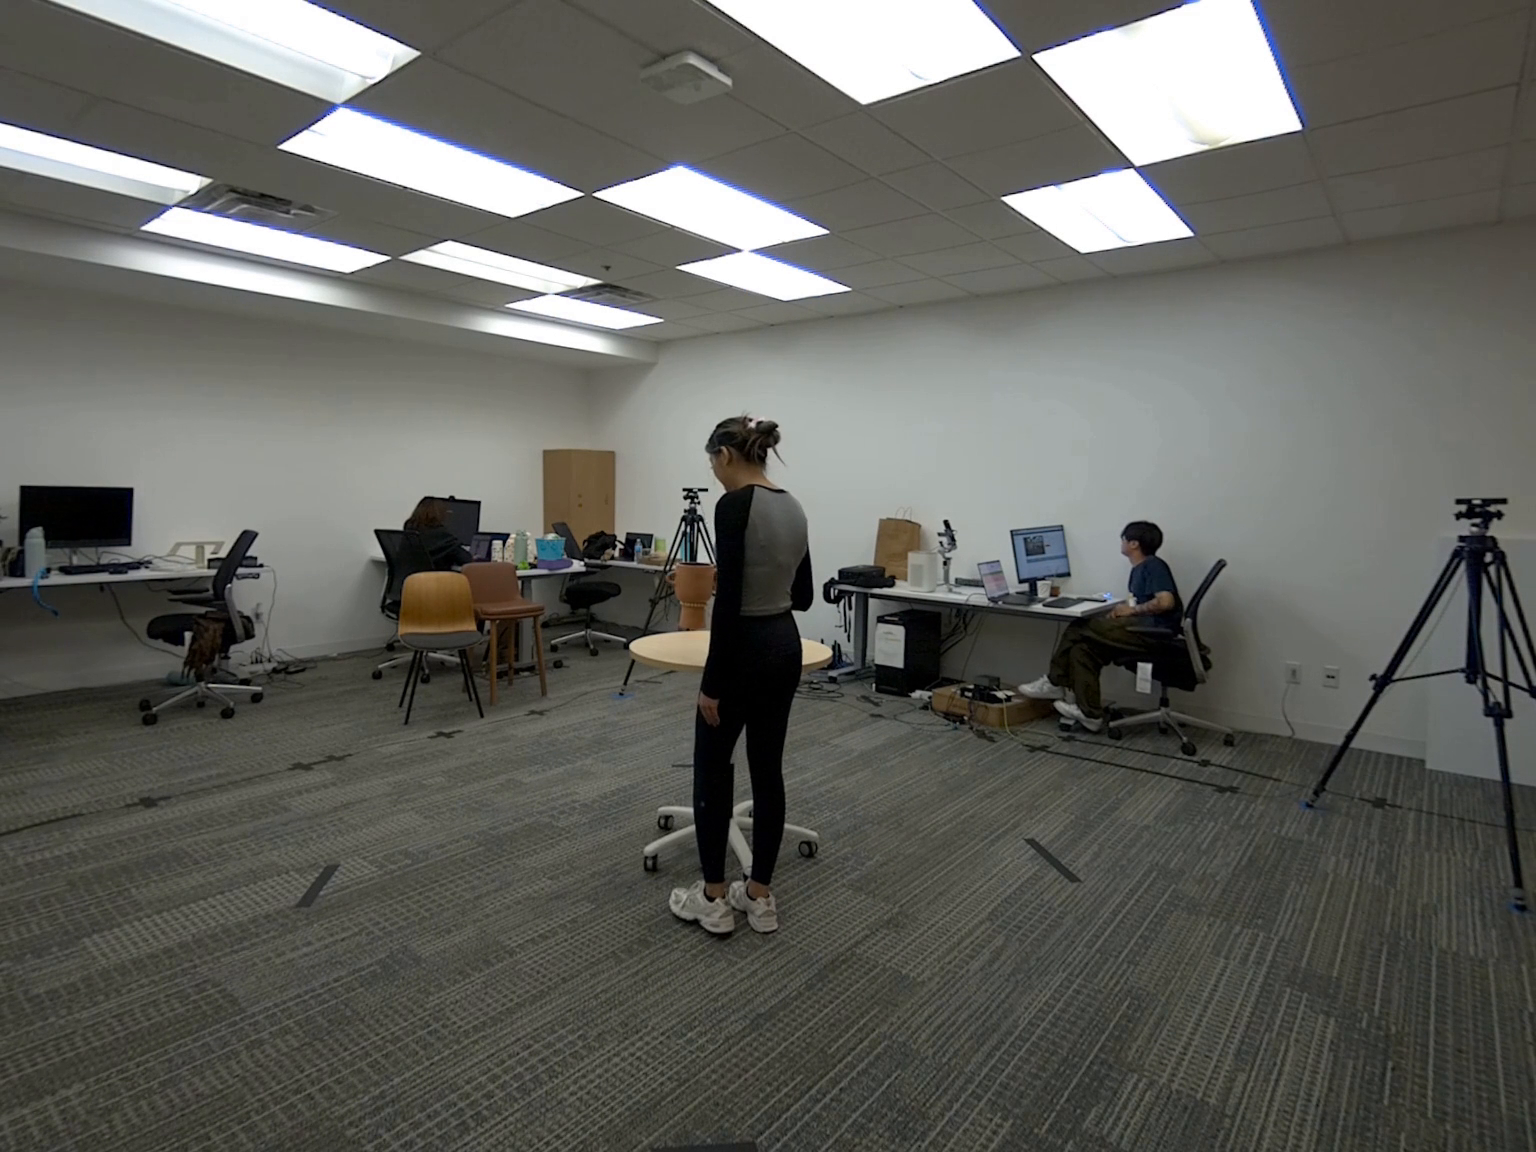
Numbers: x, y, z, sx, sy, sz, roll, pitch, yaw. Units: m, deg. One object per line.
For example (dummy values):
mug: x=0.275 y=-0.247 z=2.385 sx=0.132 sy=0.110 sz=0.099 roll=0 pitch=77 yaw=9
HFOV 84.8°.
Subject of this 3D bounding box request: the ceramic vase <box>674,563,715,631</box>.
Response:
ceramic vase: x=-0.270 y=0.065 z=2.973 sx=0.163 sy=0.219 sz=0.131 roll=5 pitch=5 yaw=25
